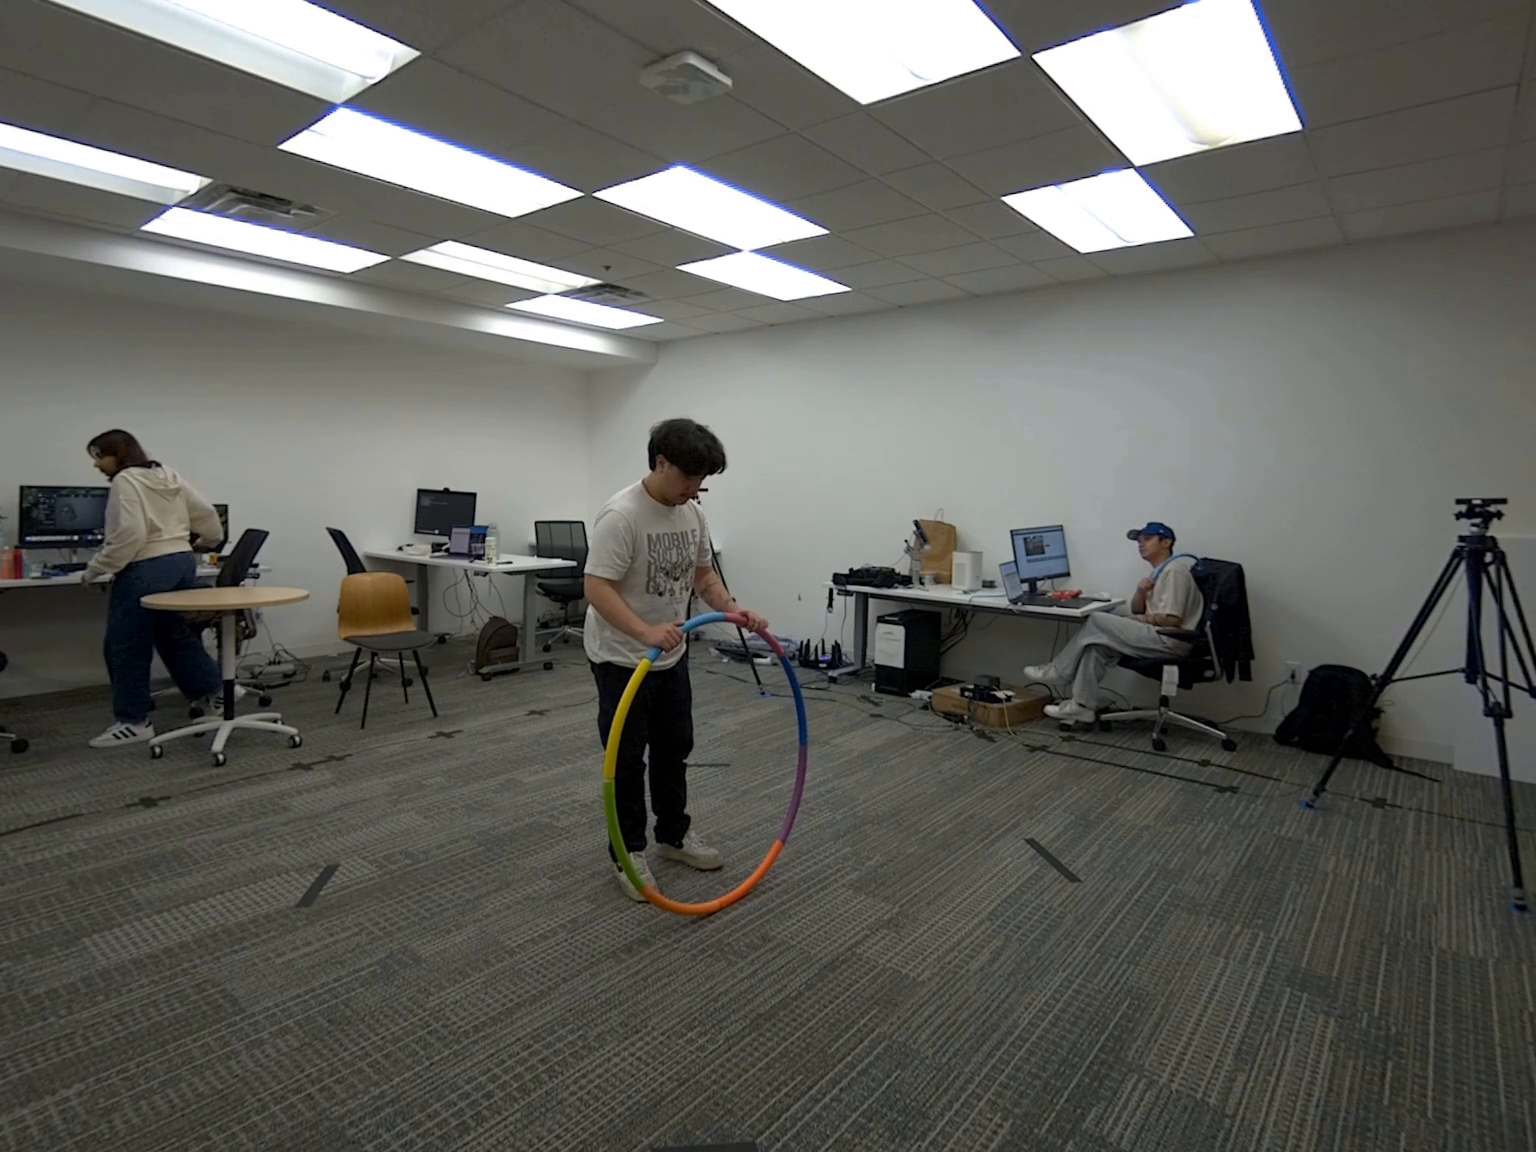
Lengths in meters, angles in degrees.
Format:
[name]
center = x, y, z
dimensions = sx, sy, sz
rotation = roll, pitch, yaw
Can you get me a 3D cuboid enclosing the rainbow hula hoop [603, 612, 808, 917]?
[rainbow hula hoop]
center = -0.173, 0.610, 2.842
dimensions = 0.053, 0.986, 0.956
rotation = -4, 0, 41
